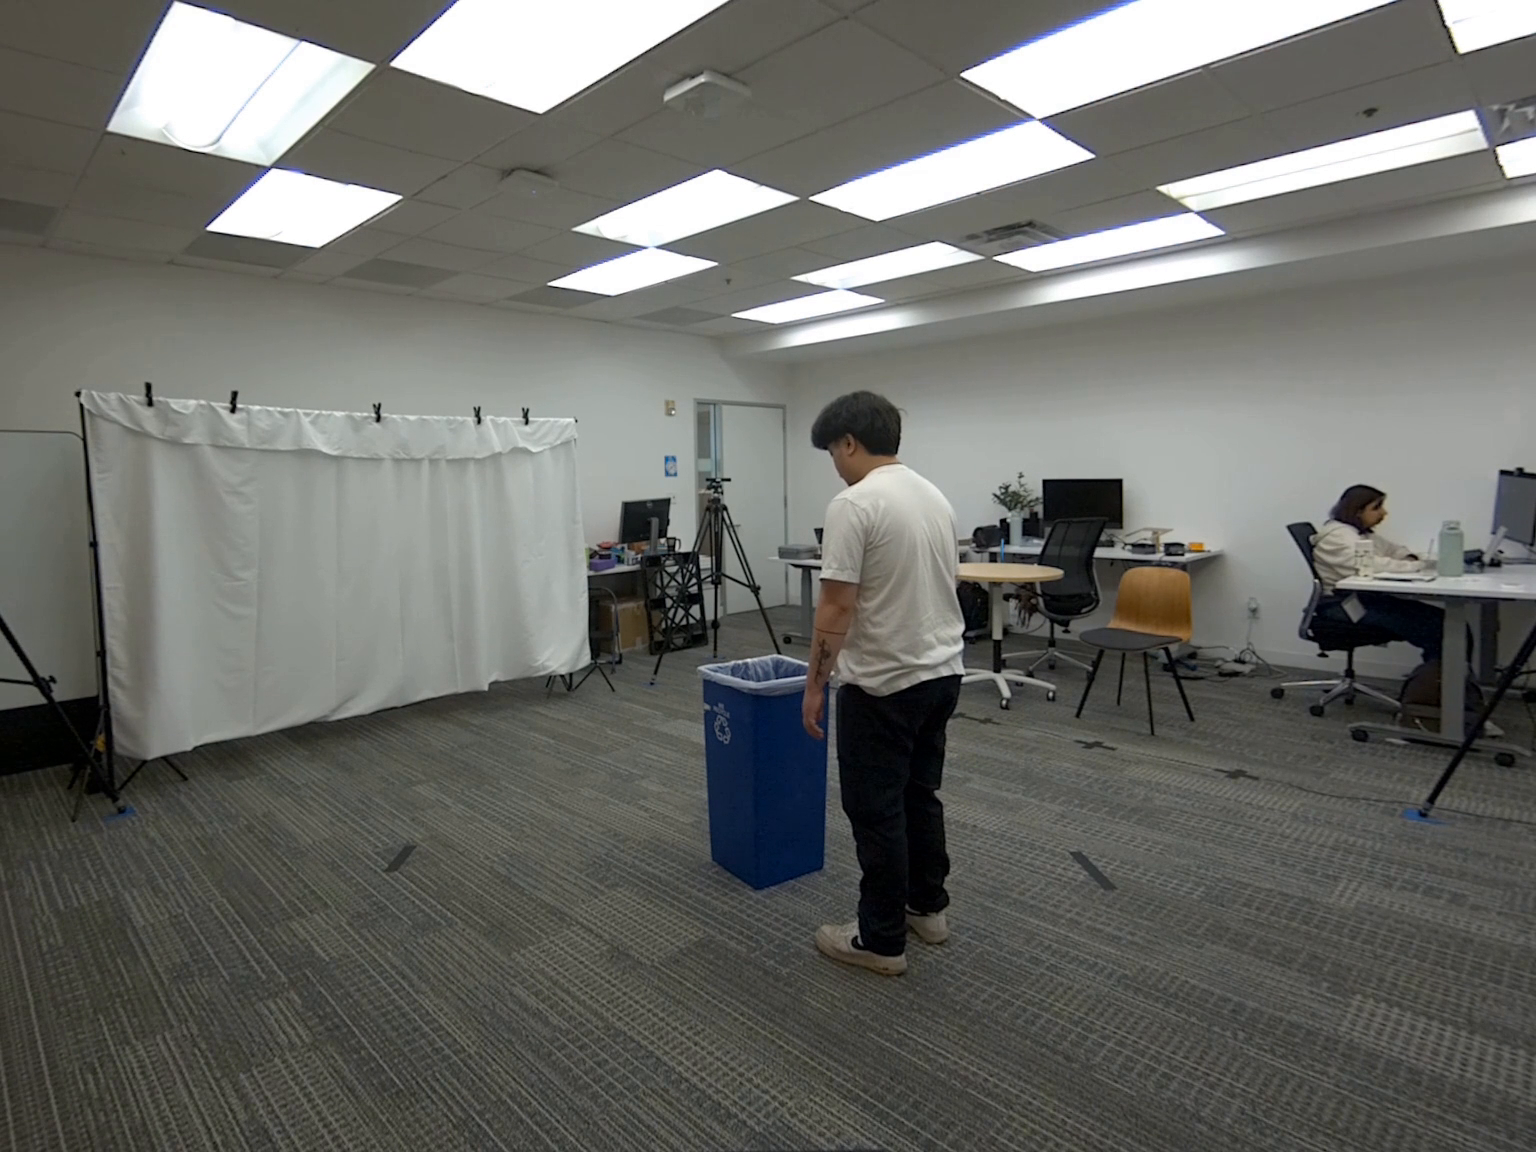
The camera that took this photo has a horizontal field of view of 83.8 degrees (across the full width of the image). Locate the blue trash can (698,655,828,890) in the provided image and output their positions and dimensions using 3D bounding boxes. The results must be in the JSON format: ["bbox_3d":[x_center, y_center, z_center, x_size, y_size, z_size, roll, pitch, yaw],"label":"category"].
[{"bbox_3d":[0.000,0.687,3.069,0.368,0.711,0.385,-4,5,-35],"label":"blue trash can"}]
